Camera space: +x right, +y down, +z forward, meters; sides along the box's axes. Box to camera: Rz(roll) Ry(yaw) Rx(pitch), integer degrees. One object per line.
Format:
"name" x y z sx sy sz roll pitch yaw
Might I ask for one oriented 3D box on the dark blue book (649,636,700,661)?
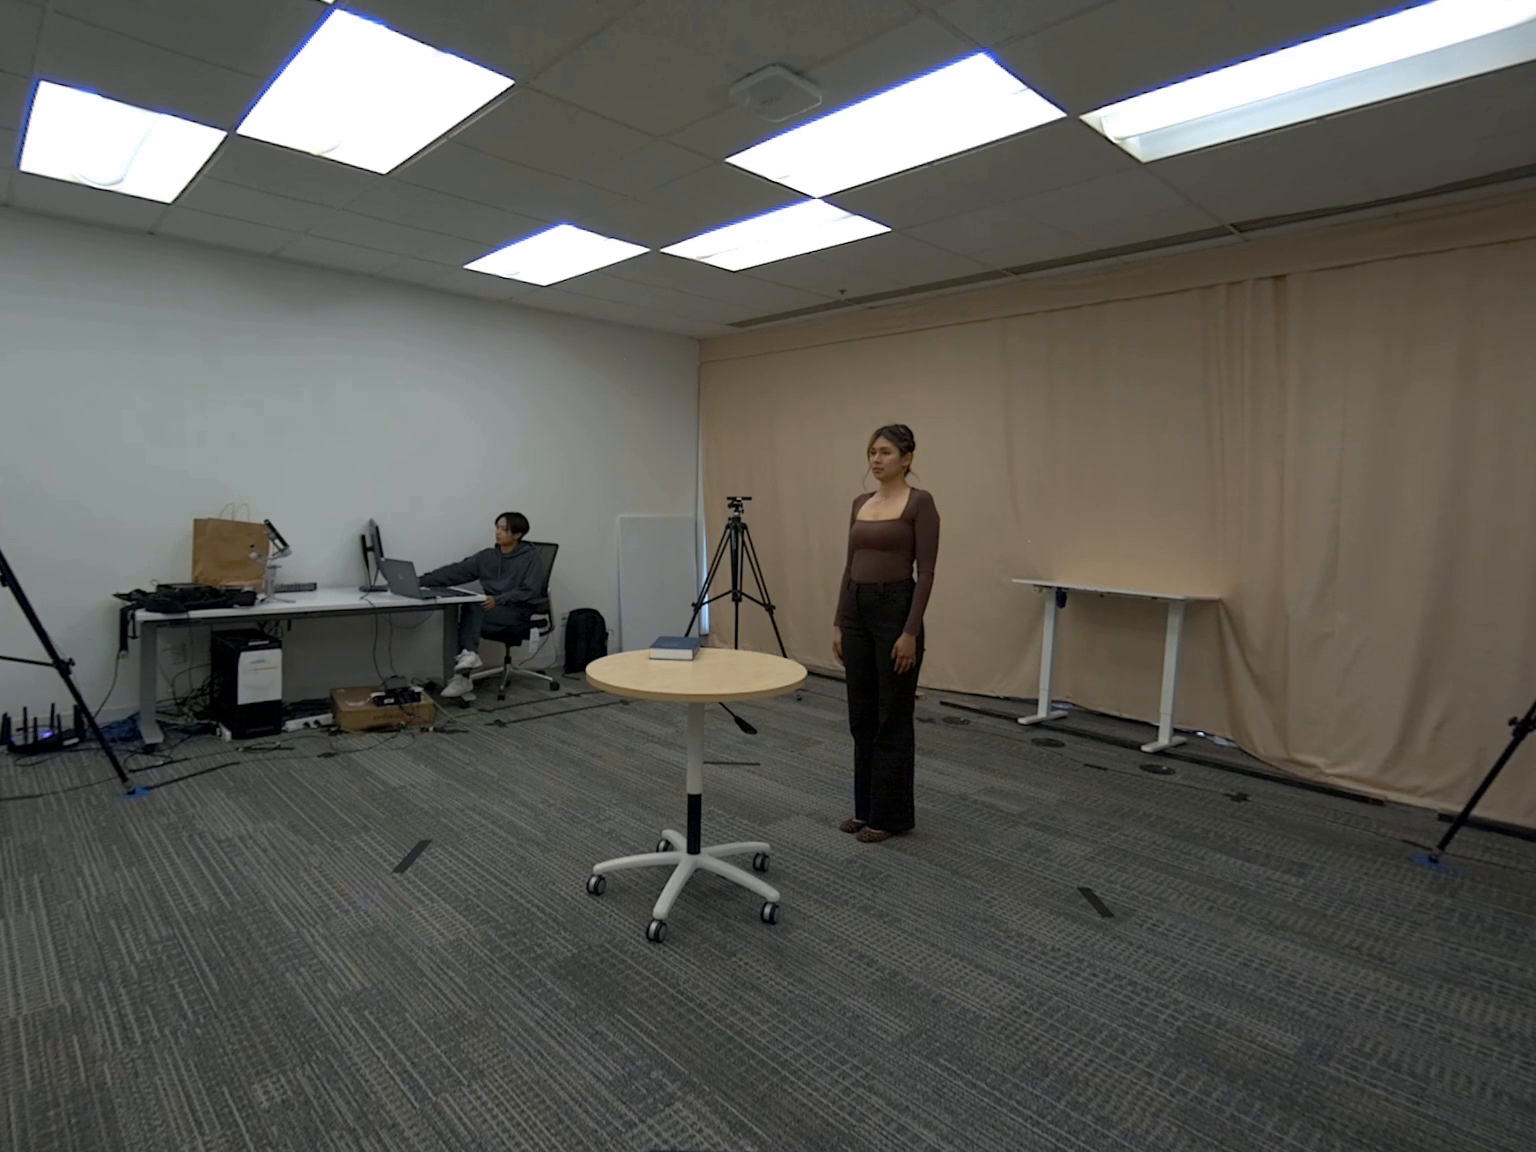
"dark blue book" -0.357 0.275 3.175 0.164 0.045 0.245 1 5 3
